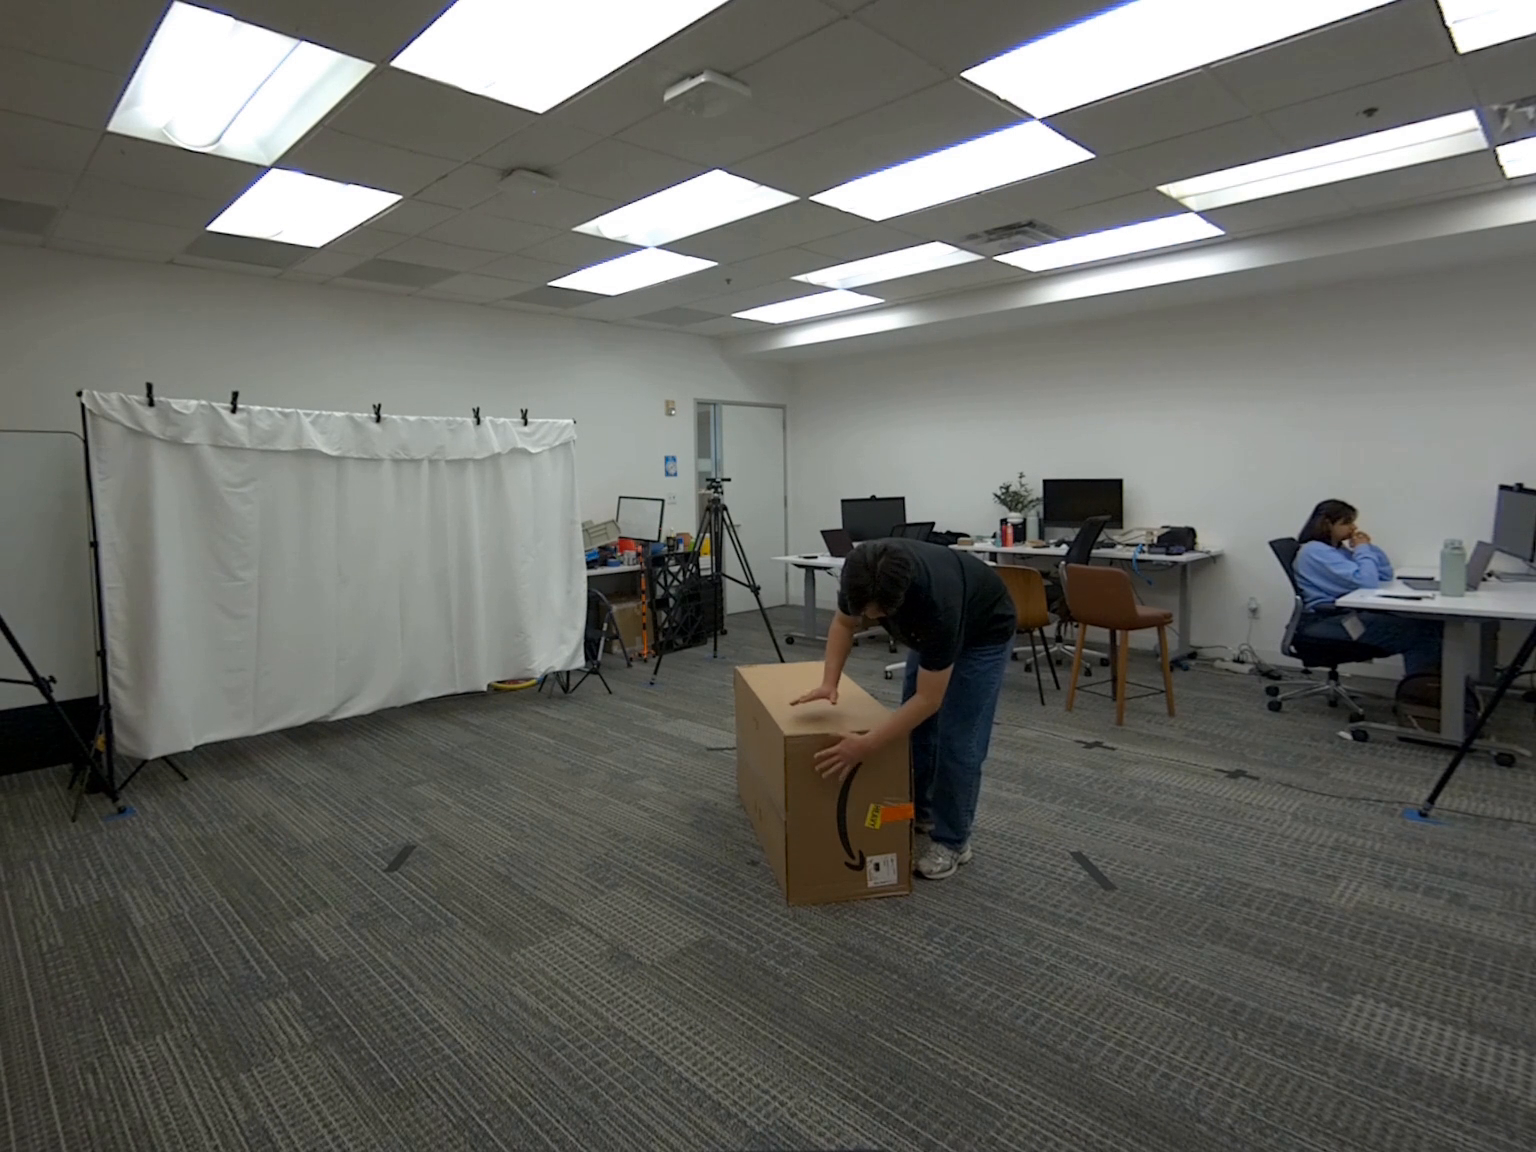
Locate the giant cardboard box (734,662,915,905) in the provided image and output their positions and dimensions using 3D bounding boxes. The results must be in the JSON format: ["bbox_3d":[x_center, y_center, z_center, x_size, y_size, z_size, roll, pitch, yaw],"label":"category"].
[{"bbox_3d":[0.170,0.727,3.297,0.442,0.581,1.043,-1,6,-12],"label":"giant cardboard box"}]
